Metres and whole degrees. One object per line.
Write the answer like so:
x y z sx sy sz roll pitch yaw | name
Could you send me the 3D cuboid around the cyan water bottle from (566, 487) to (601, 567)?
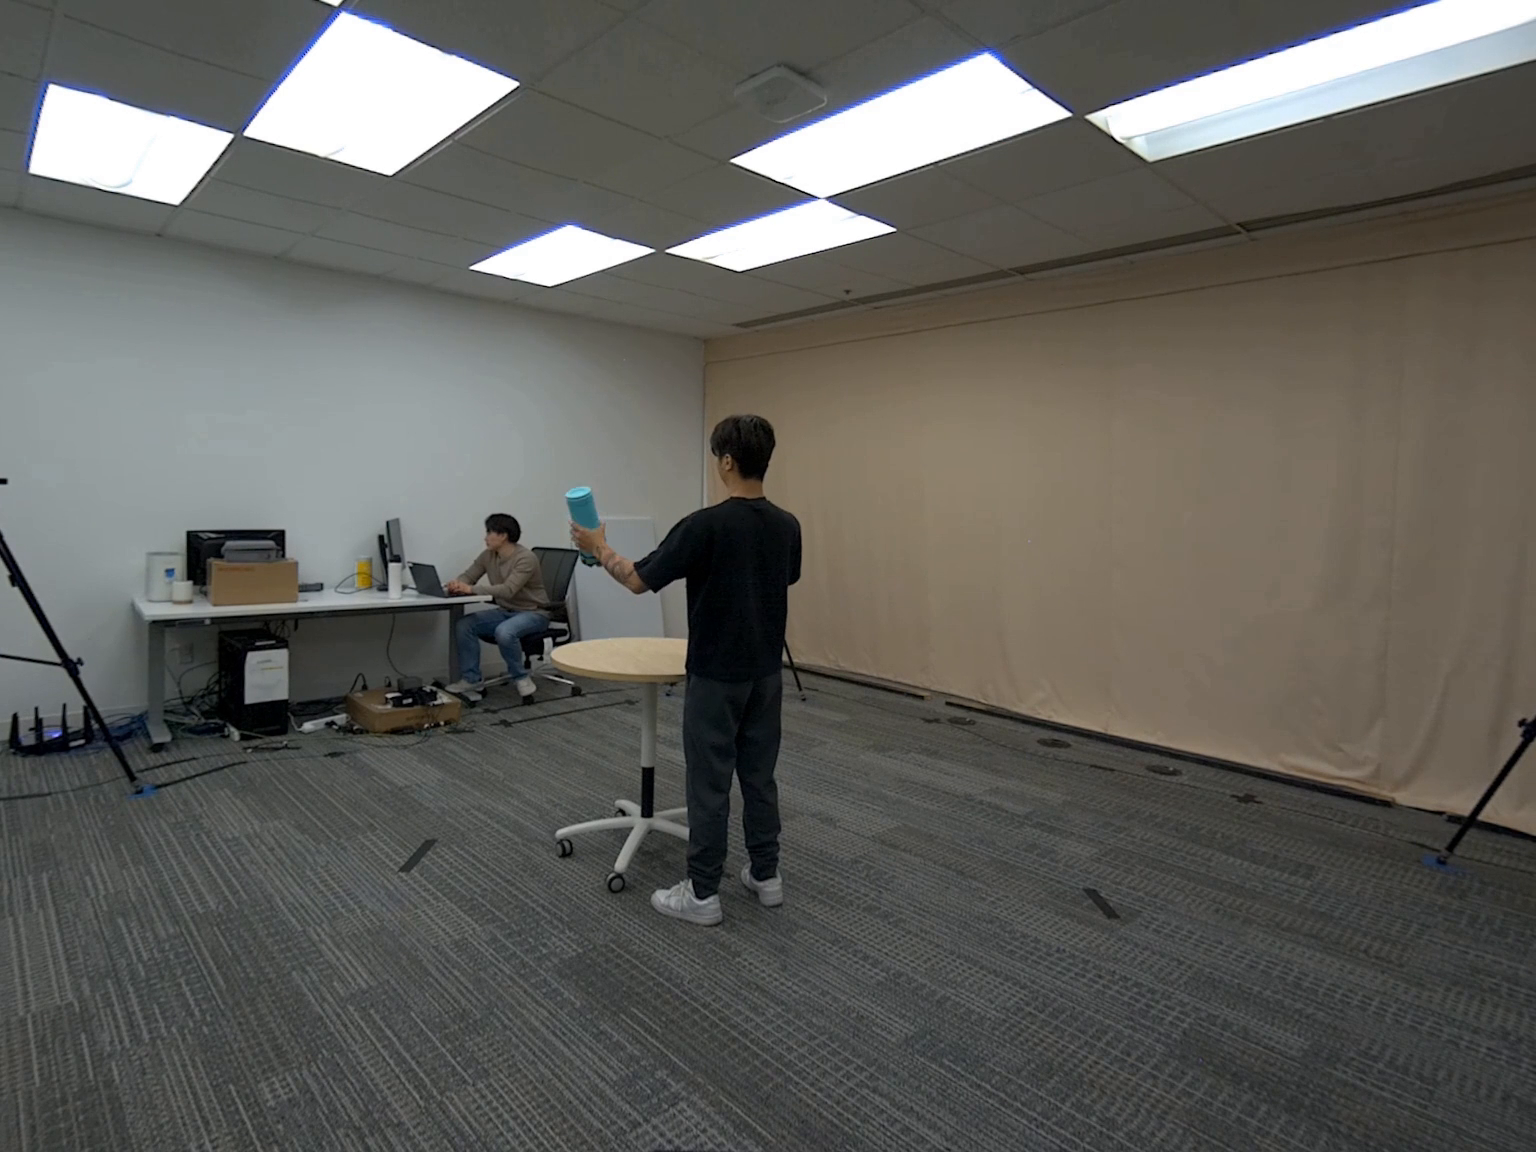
-0.611 -0.160 2.889 0.092 0.278 0.094 -5 27 1 | cyan water bottle
